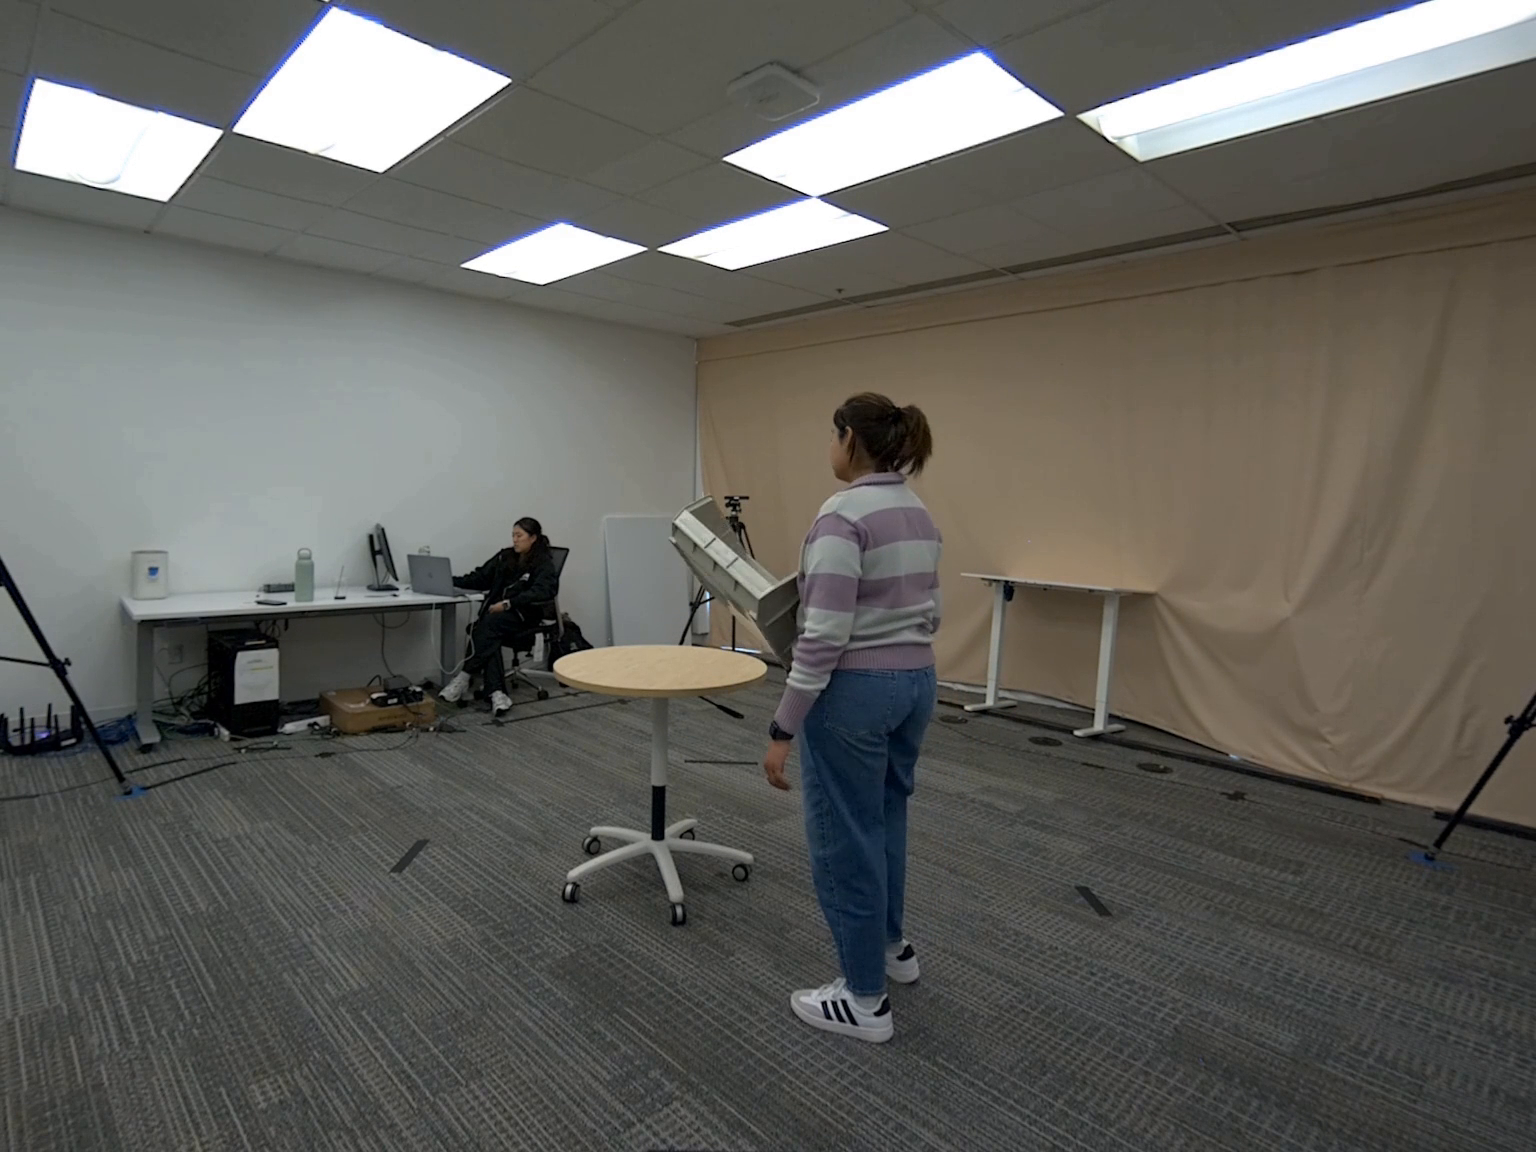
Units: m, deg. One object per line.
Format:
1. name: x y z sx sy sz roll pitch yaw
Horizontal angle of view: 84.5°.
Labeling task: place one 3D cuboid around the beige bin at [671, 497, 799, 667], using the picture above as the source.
1. beige bin: -0.055 0.017 2.422 0.435 0.189 0.366 42 -12 36
